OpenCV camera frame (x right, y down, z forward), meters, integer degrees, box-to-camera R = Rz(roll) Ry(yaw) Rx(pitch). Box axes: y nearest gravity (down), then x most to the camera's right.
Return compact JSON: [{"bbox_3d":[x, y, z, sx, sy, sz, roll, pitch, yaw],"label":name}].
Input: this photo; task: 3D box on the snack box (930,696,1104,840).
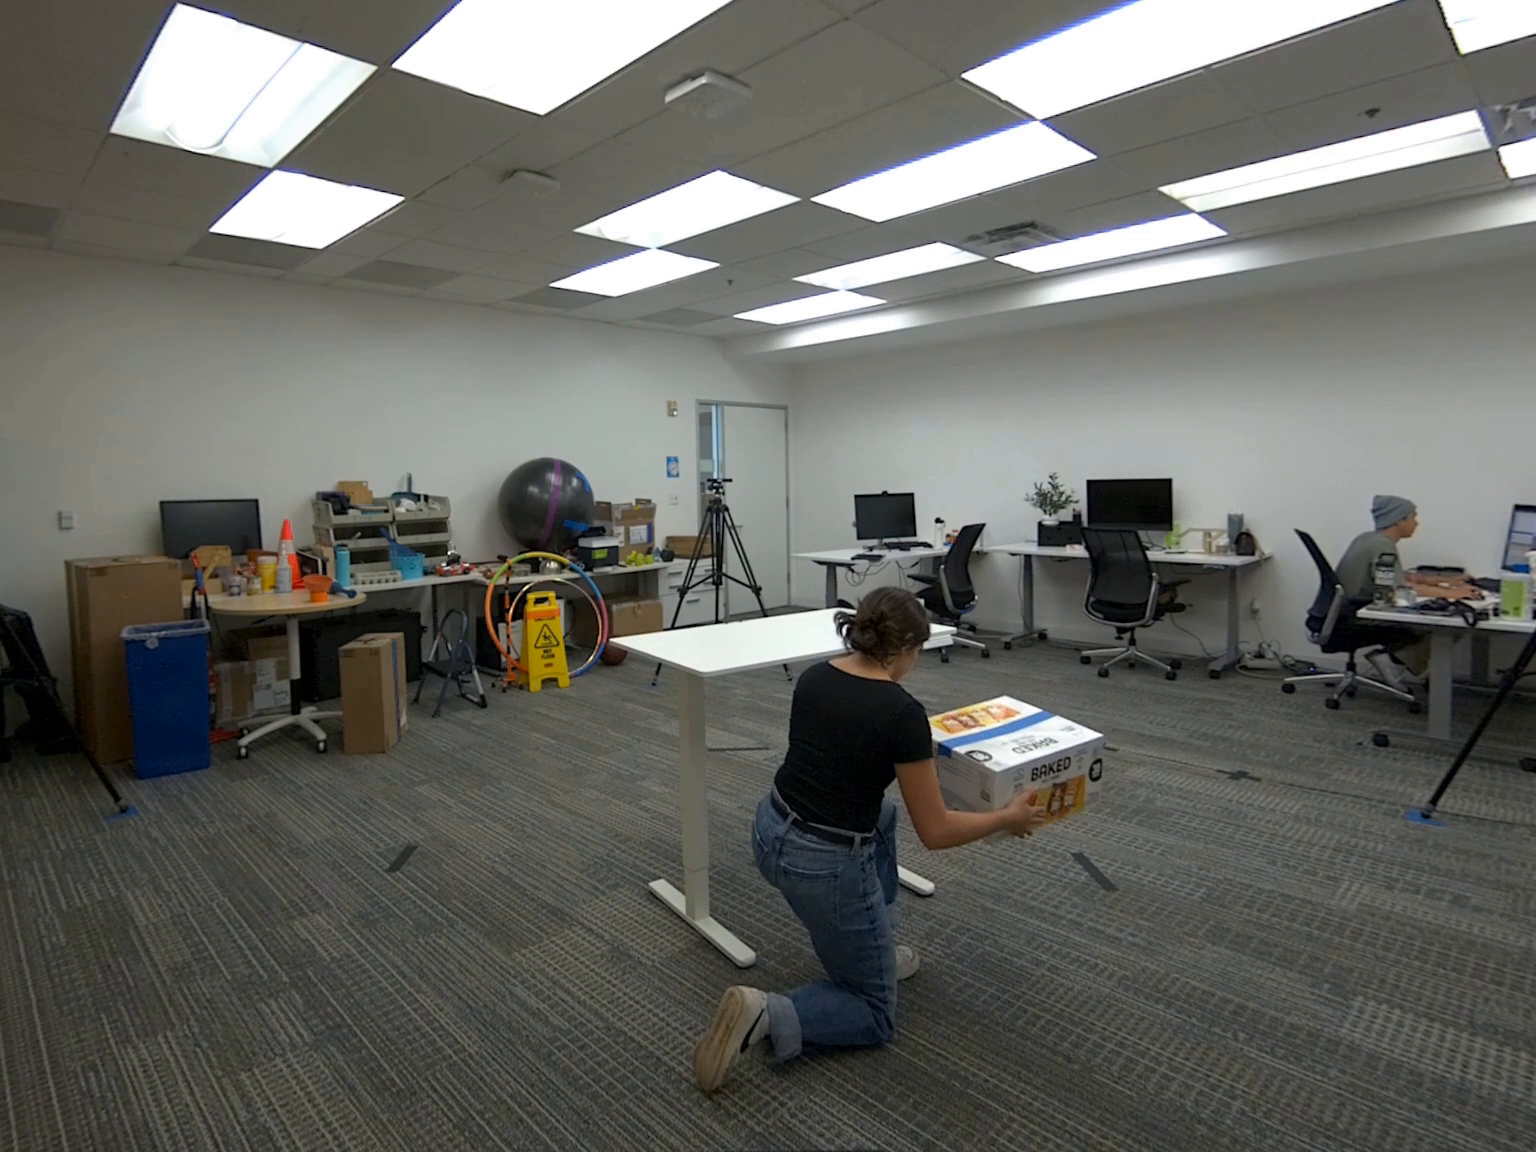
[{"bbox_3d":[0.641,0.517,2.336,0.396,0.204,0.351,-8,13,-30],"label":"snack box"}]
